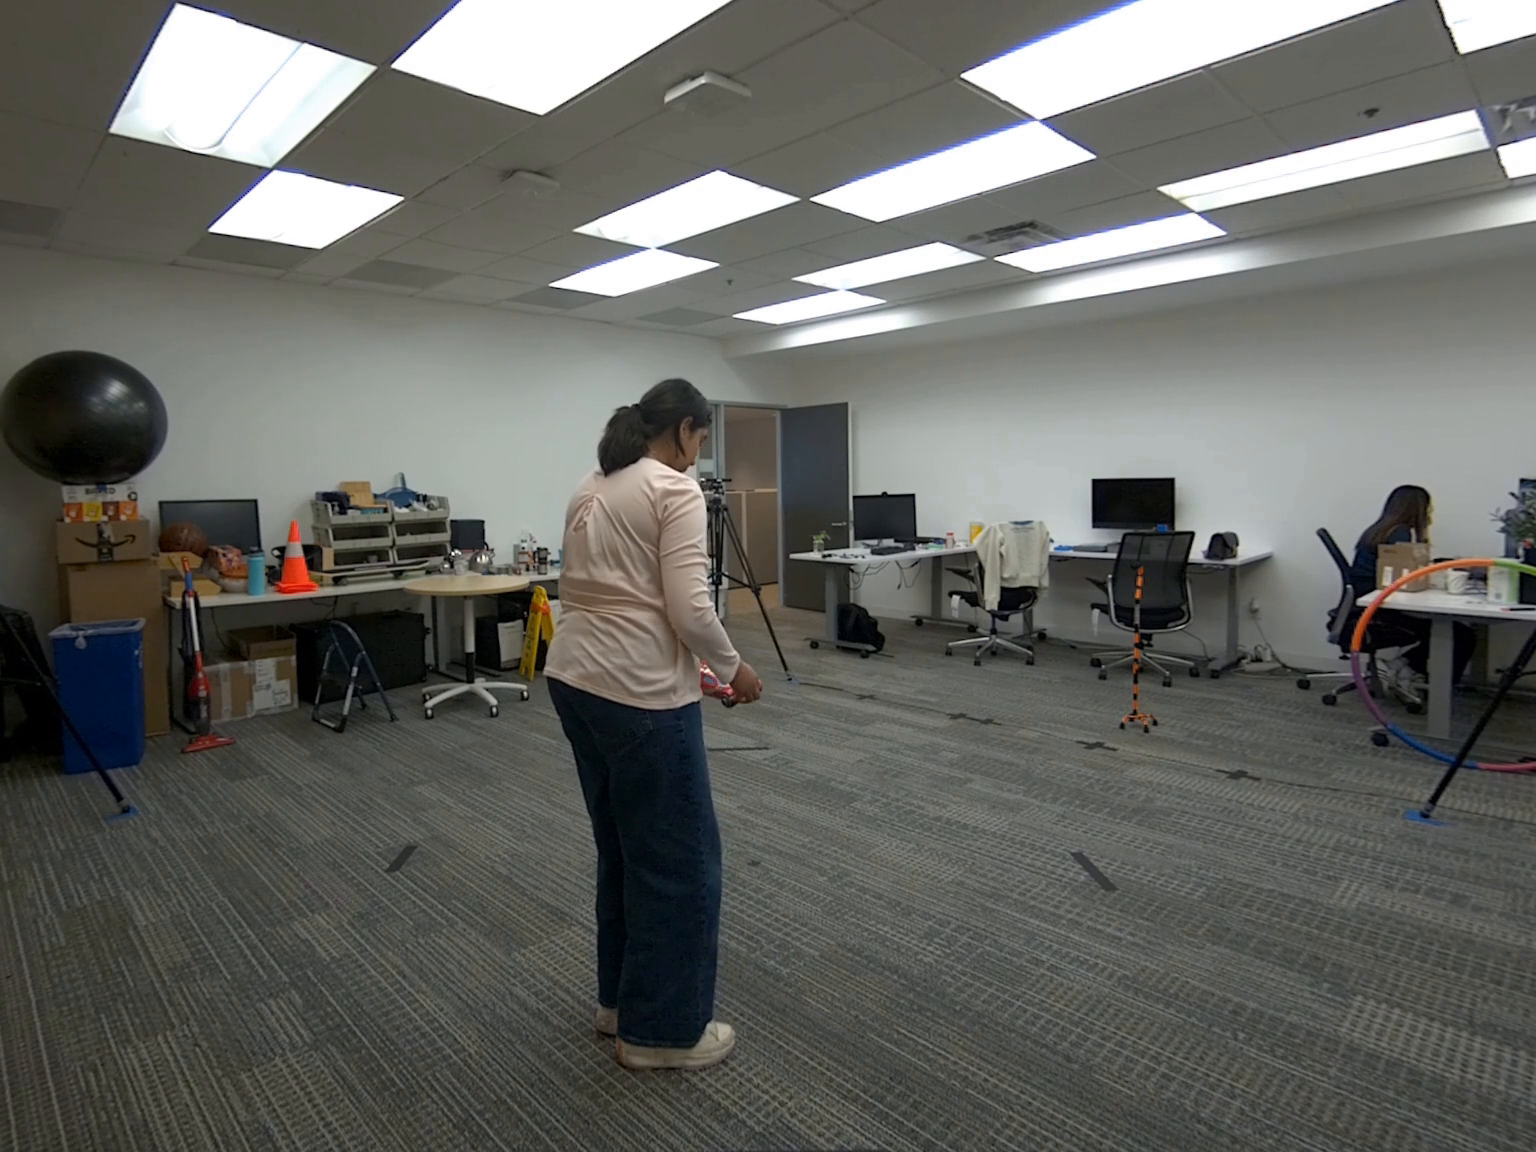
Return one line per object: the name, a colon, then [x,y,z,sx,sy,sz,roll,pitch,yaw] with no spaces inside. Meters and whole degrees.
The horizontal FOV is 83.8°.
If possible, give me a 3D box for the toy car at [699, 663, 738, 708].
toy car: [-0.118,0.296,2.316,0.128,0.081,0.264,-20,27,-35]
